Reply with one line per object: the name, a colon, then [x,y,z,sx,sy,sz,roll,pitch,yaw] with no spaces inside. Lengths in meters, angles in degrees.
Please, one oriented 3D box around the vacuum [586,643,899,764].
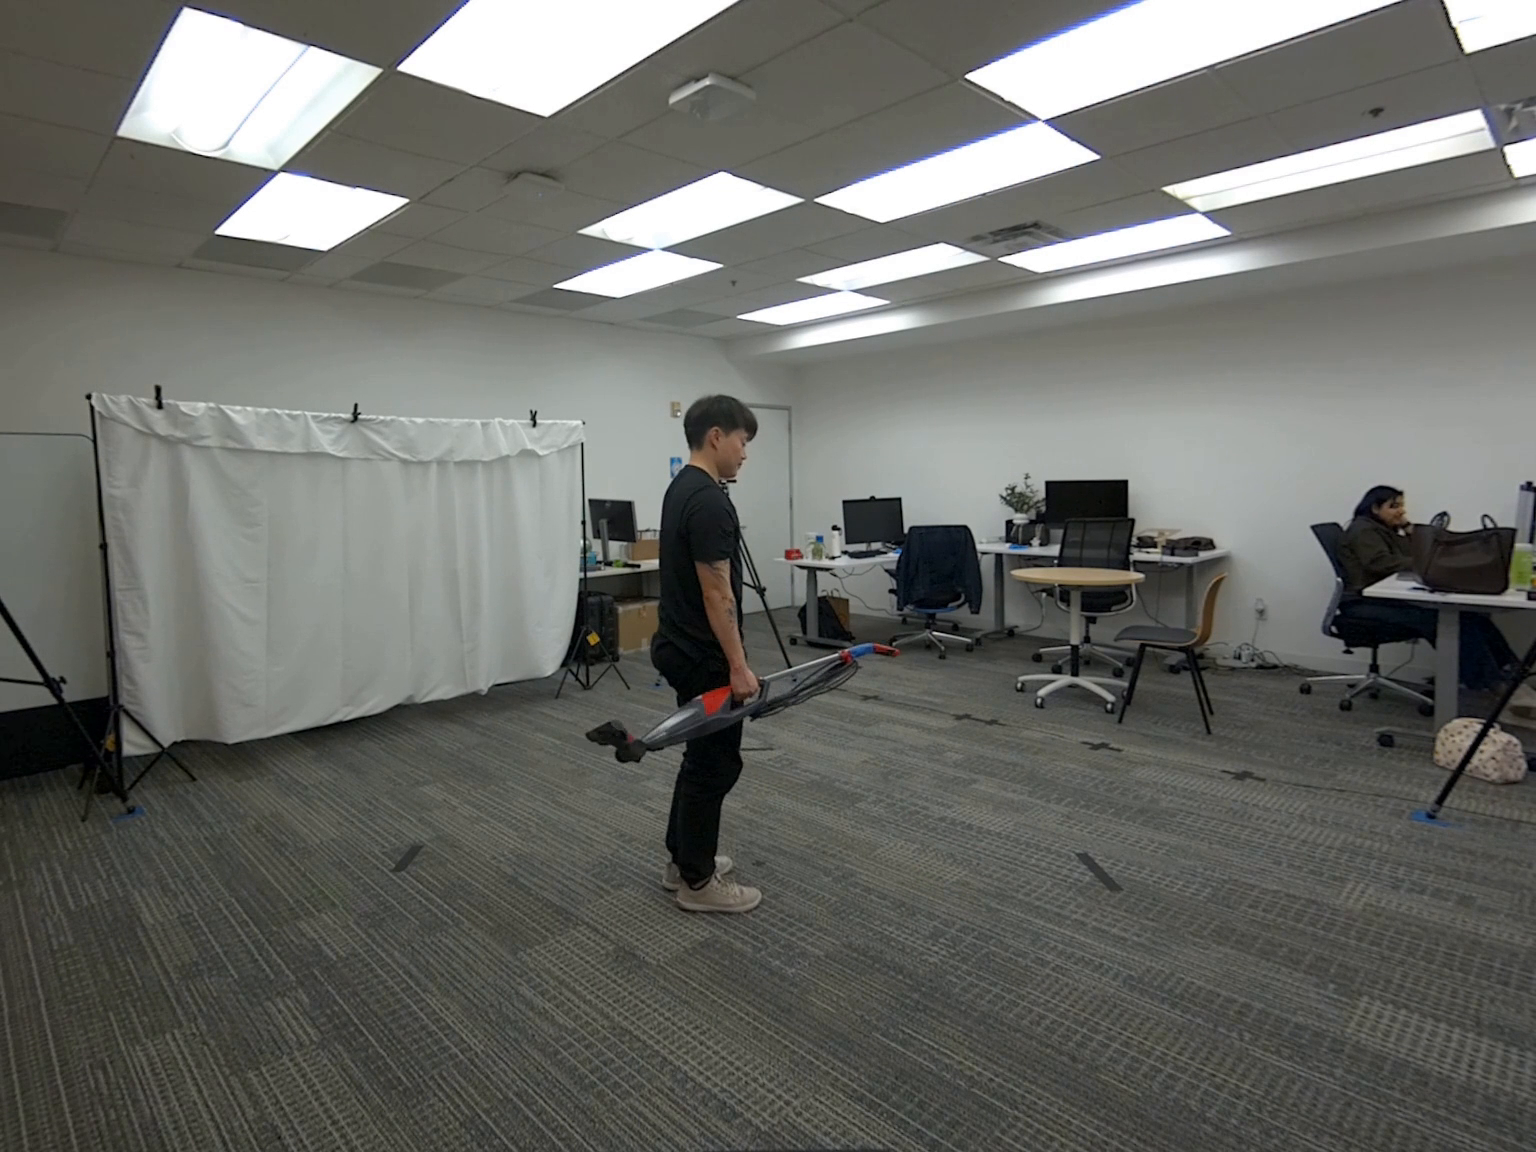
vacuum: [0.000,0.365,2.672,1.029,0.146,0.253,-14,-16,-30]
